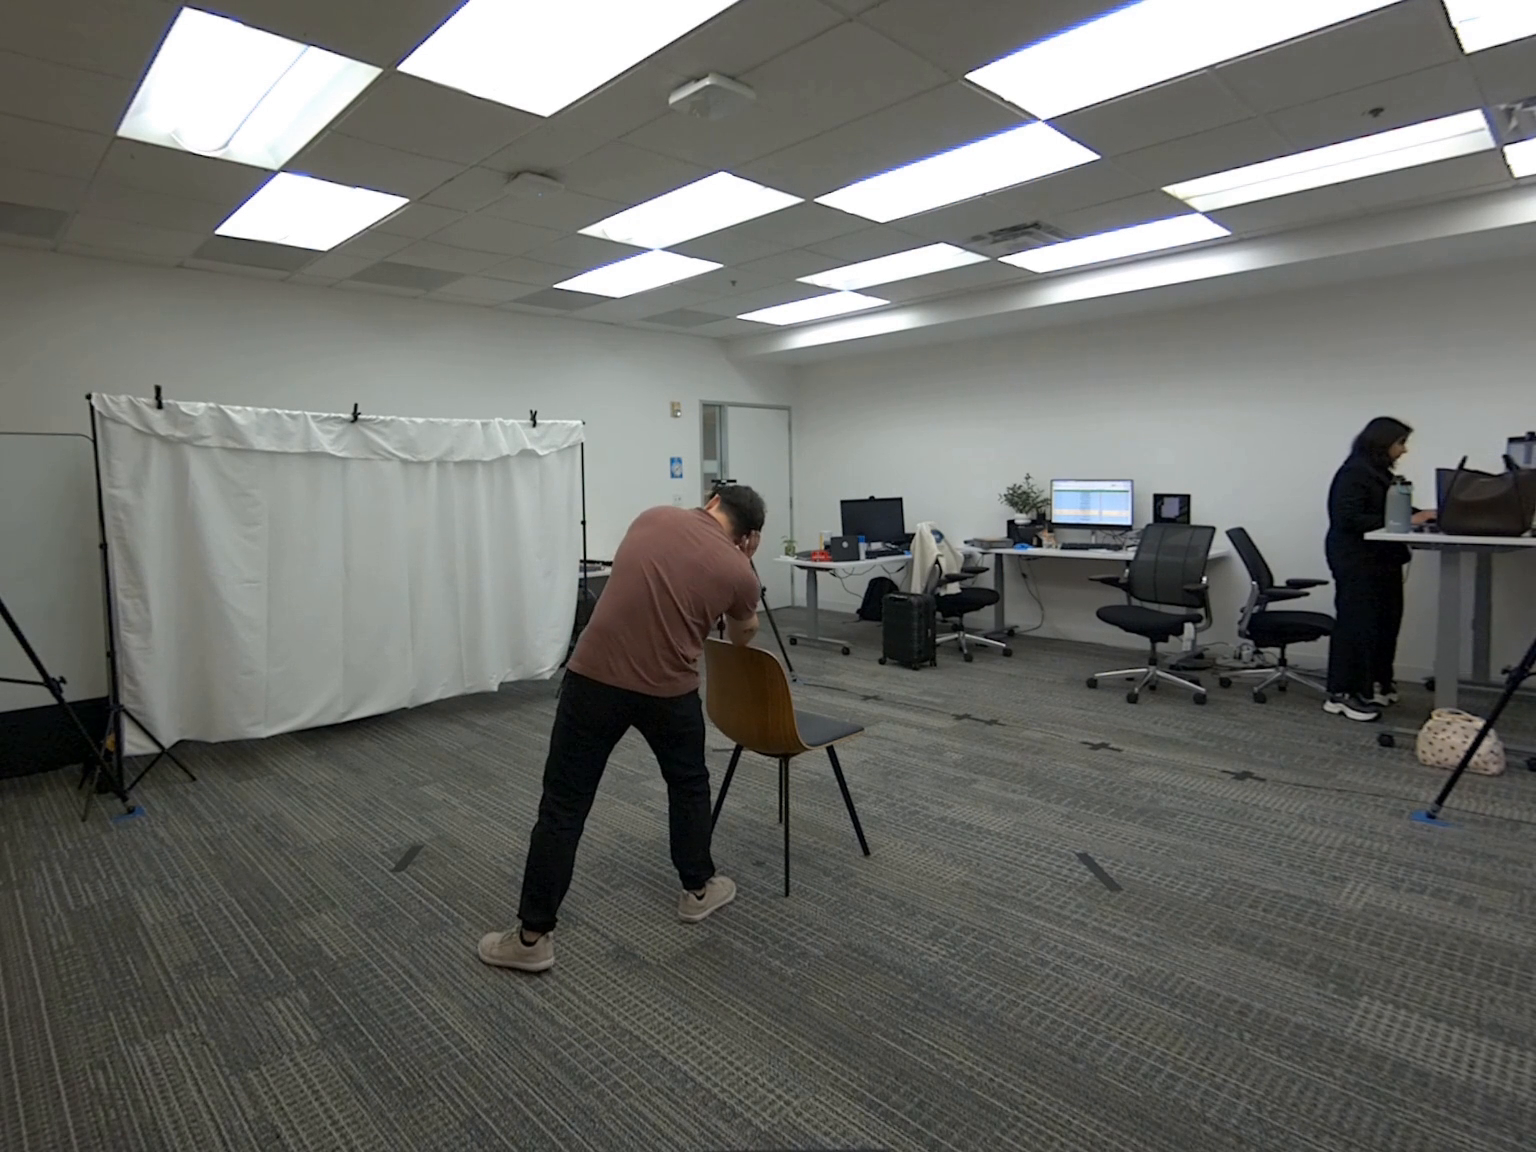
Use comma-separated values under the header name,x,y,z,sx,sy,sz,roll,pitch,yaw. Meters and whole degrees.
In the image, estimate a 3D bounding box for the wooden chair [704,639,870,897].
name,x,y,z,sx,sy,sz,roll,pitch,yaw
wooden chair,0.061,0.614,3.148,0.511,0.871,0.493,-11,10,-44
